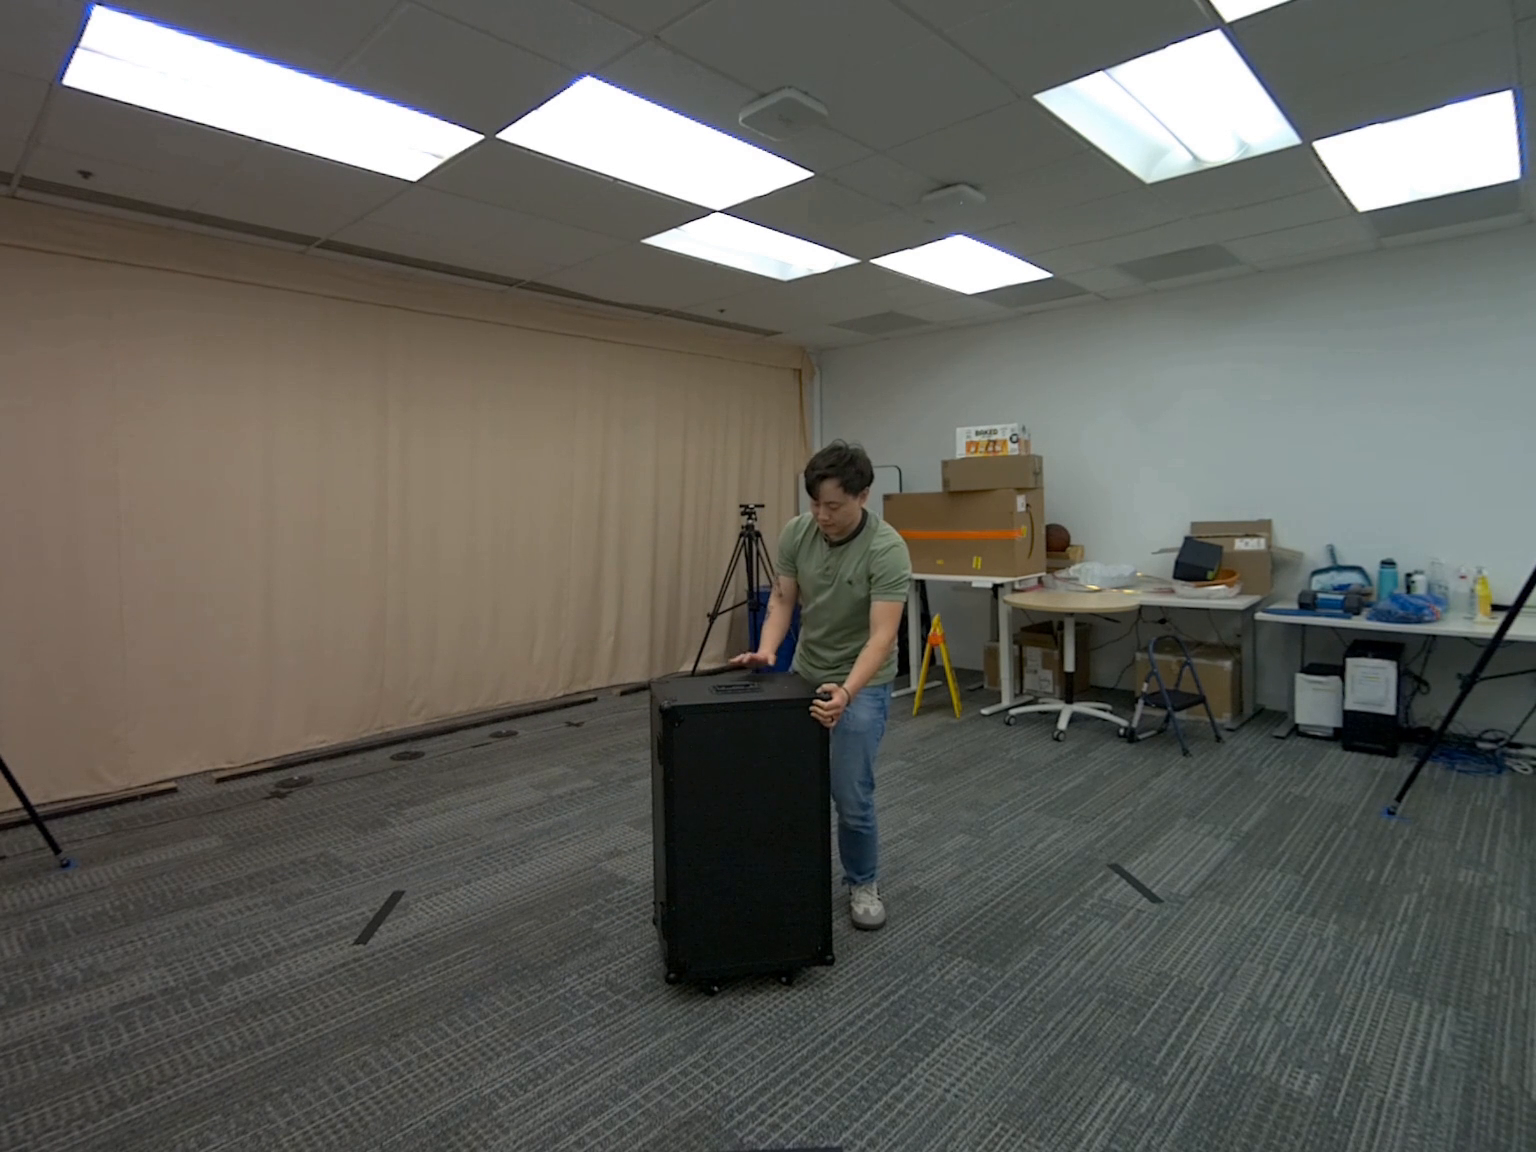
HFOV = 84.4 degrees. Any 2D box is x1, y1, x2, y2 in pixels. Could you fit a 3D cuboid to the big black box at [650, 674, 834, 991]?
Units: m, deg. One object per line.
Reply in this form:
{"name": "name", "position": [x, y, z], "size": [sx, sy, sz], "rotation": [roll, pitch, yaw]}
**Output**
{"name": "big black box", "position": [-0.093, 0.699, 2.530], "size": [0.515, 0.860, 0.402], "rotation": [-1, 3, -12]}
